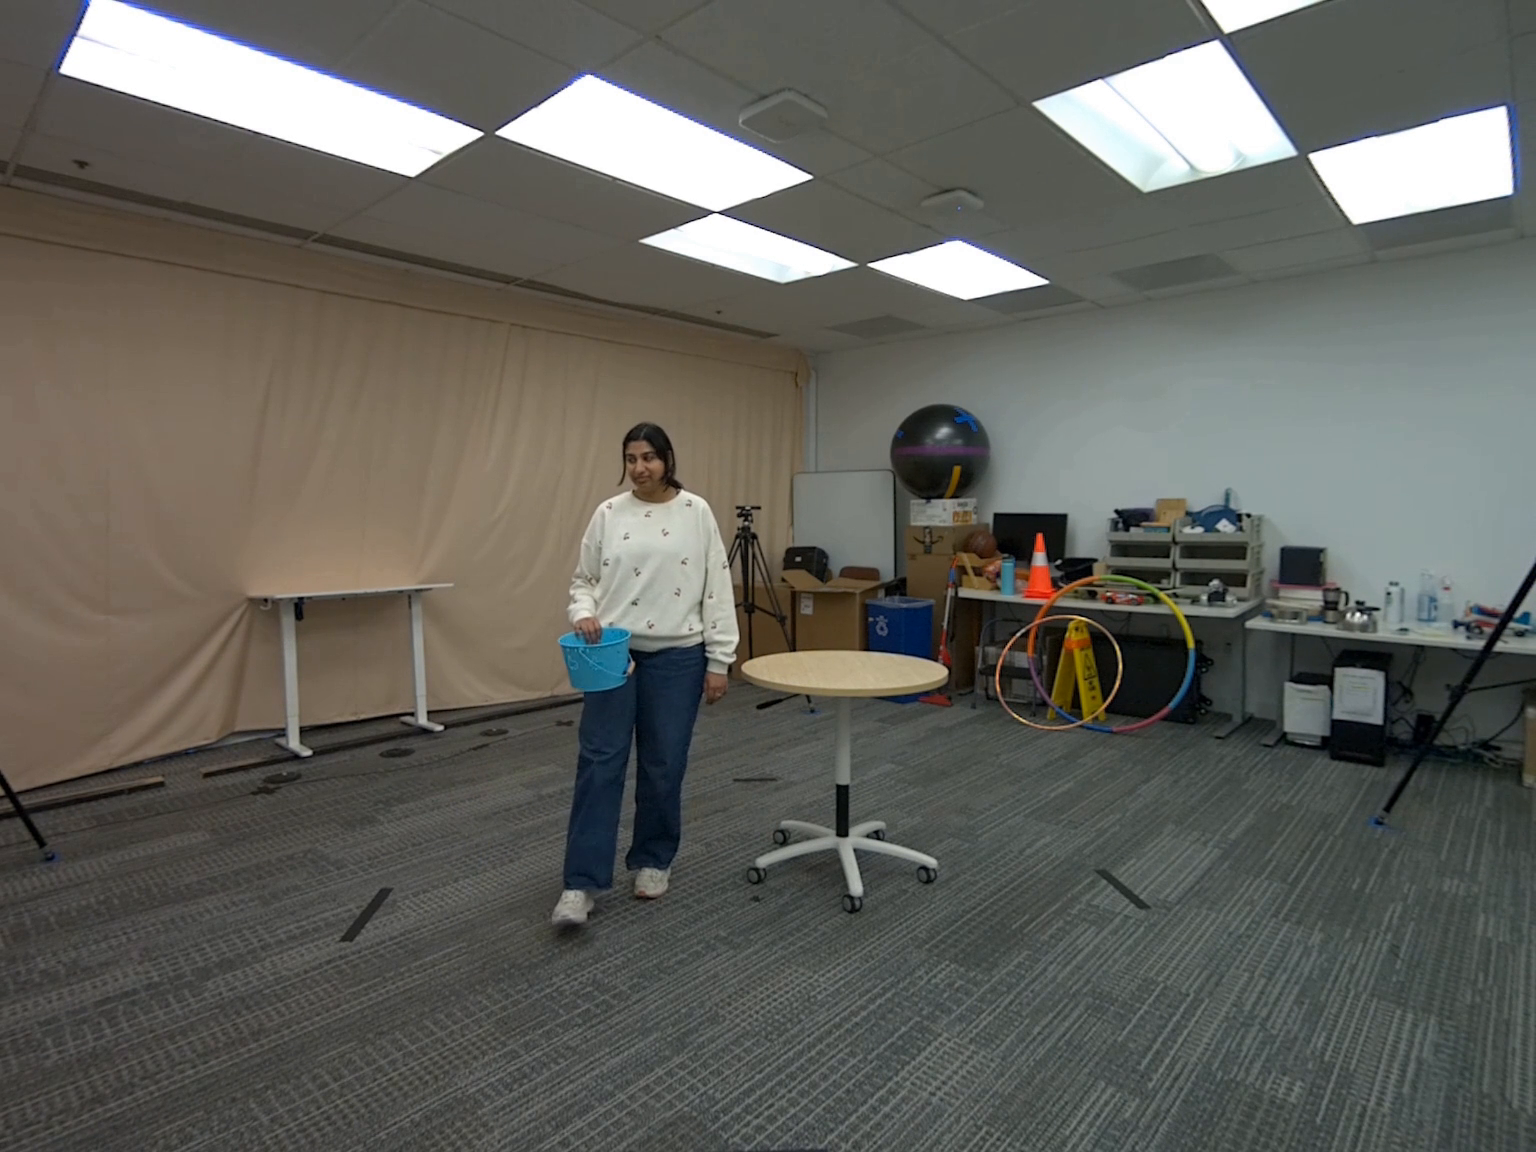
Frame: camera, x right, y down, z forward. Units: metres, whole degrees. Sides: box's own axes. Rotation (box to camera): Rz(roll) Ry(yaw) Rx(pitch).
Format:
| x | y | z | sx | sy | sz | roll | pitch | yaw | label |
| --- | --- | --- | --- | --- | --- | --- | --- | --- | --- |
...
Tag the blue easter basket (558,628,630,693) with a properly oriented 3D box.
| x | y | z | sx | sy | sz | roll | pitch | yaw | label |
| --- | --- | --- | --- | --- | --- | --- | --- | --- | --- |
| -0.555 | 0.268 | 2.709 | 0.243 | 0.155 | 0.245 | -5 | 10 | -1 | blue easter basket |
